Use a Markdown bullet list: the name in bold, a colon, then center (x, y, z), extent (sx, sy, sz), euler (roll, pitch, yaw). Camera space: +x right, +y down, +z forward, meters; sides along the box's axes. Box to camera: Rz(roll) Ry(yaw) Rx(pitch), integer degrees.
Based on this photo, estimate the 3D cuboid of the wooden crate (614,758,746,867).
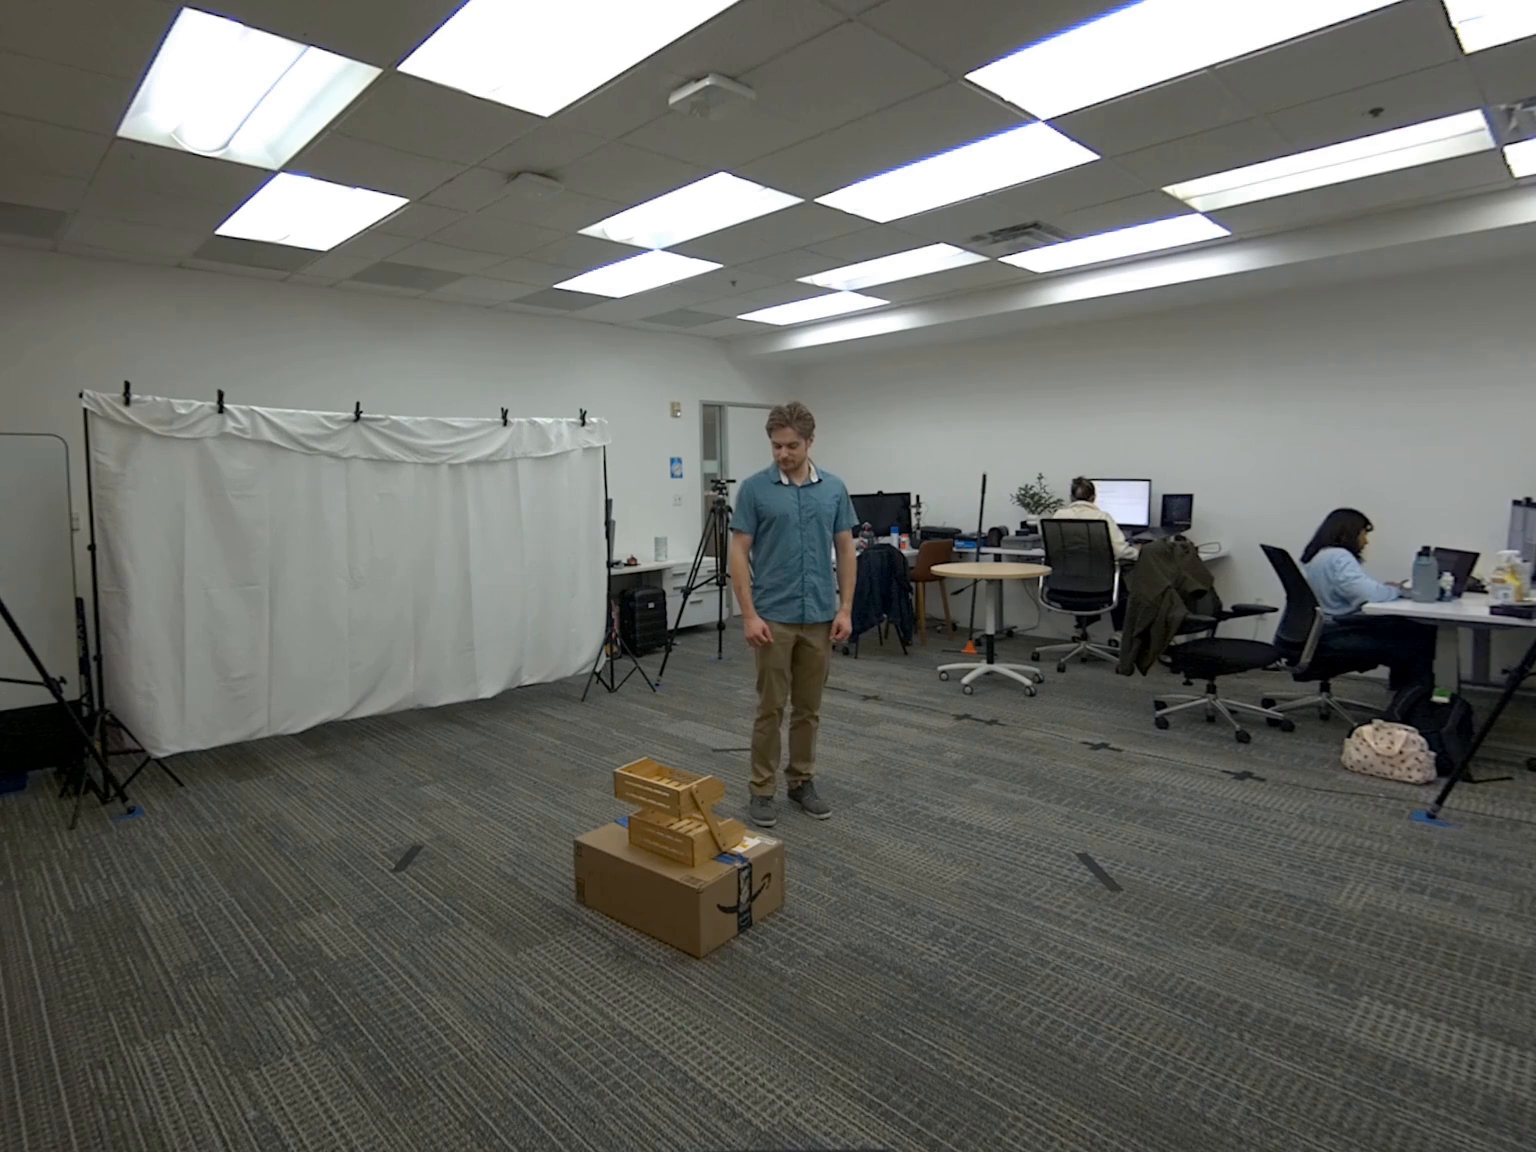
- **wooden crate**: center (-0.283, 0.743, 2.786), extent (0.334, 0.272, 0.295), euler (2, 8, 40)
